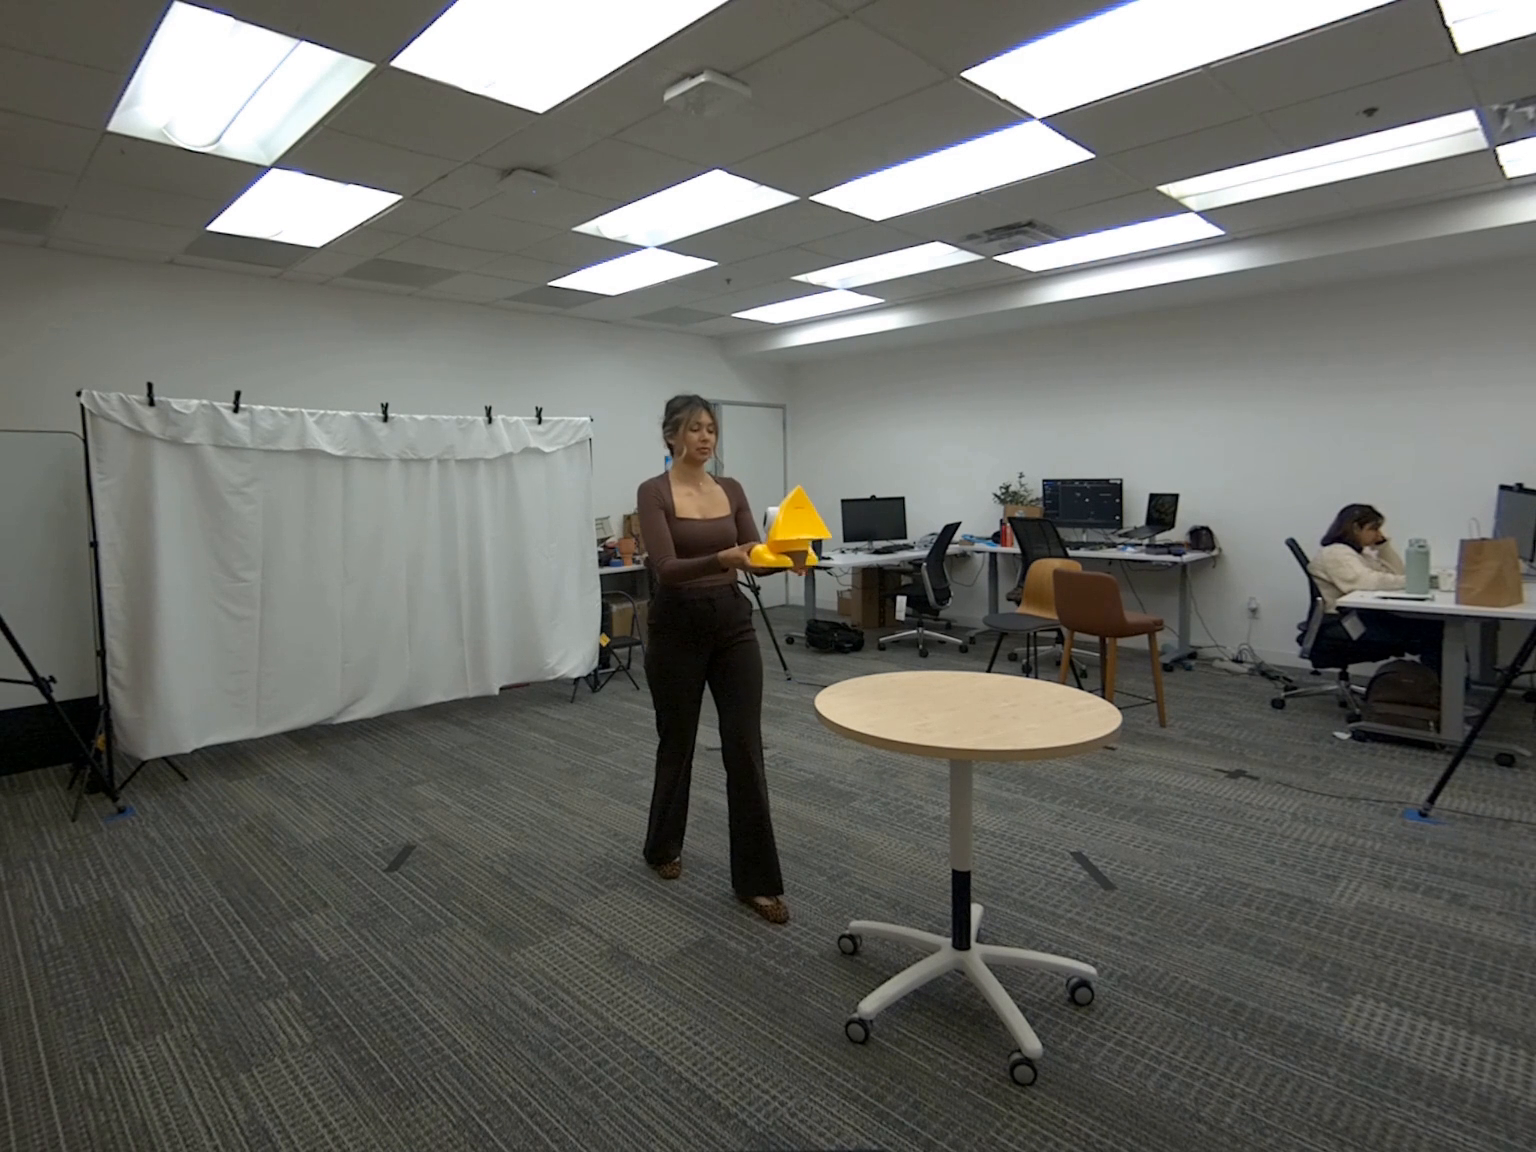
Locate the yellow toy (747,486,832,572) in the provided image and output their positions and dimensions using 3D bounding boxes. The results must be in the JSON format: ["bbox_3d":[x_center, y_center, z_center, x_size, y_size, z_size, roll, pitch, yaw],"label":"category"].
[{"bbox_3d":[0.055,-0.153,2.491,0.199,0.229,0.199,-4,7,-35],"label":"yellow toy"}]
